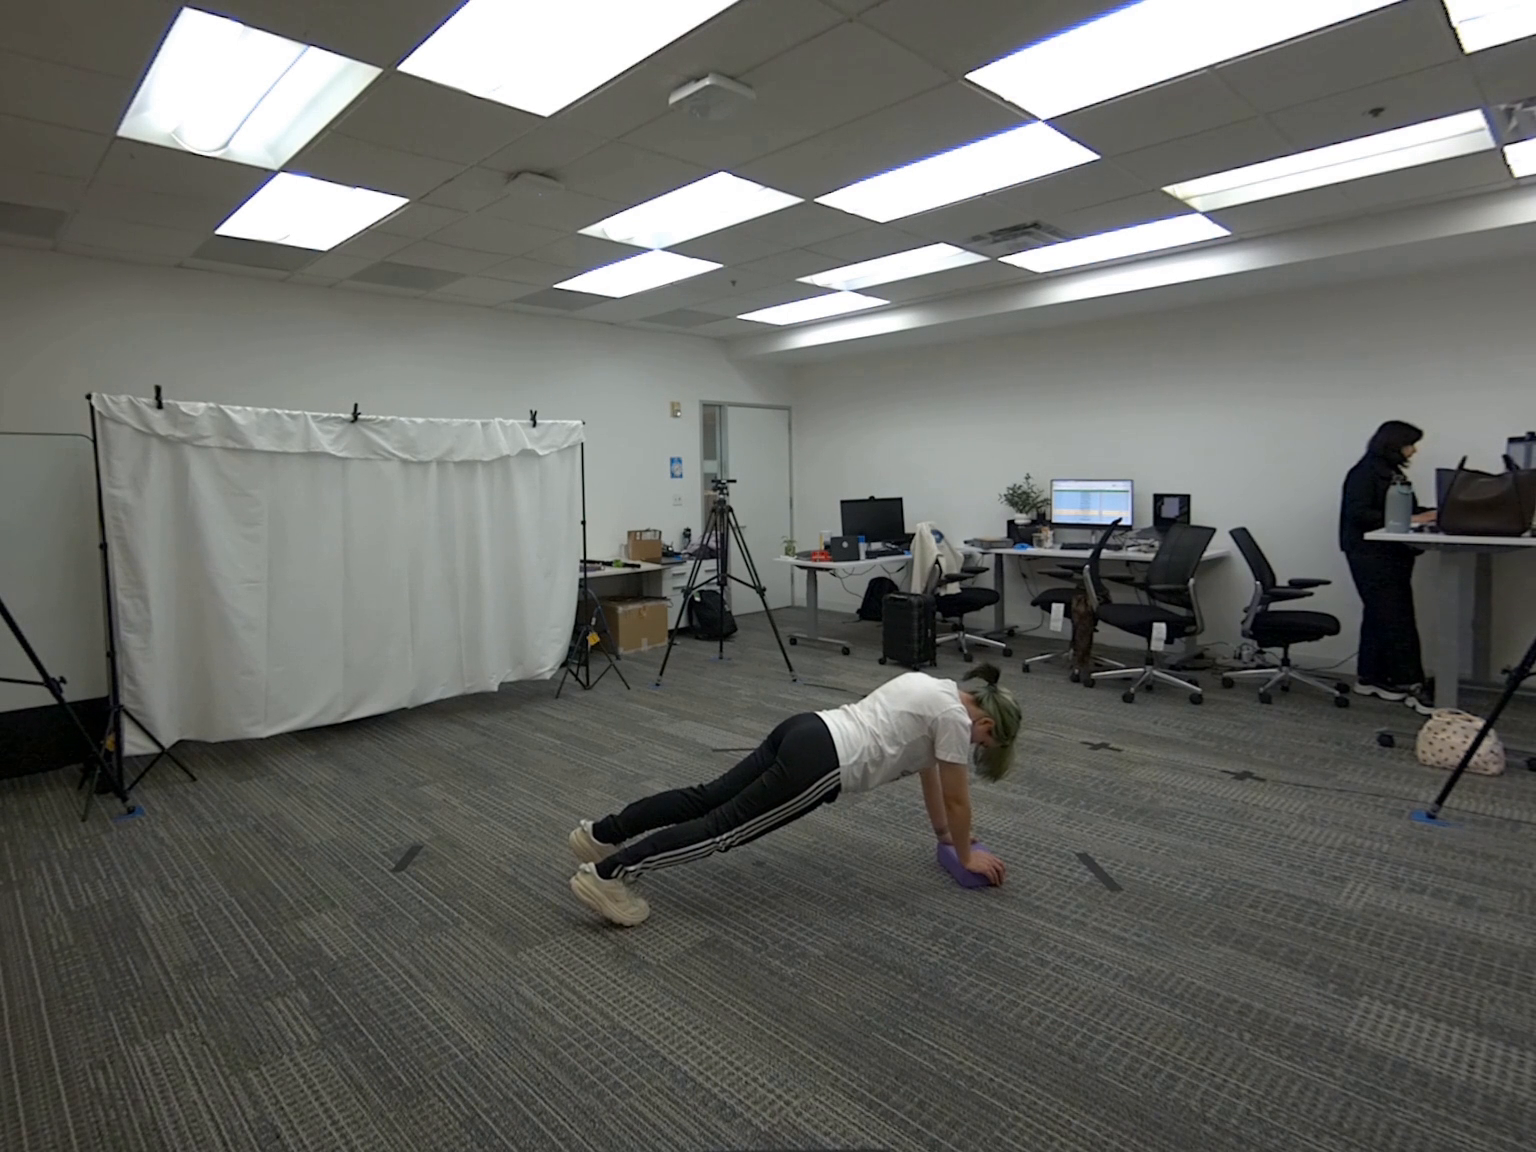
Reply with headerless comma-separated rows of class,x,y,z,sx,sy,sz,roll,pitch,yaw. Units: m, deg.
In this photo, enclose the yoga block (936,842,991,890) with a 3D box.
yoga block,0.706,1.005,3.006,0.148,0.076,0.232,-2,4,-10
